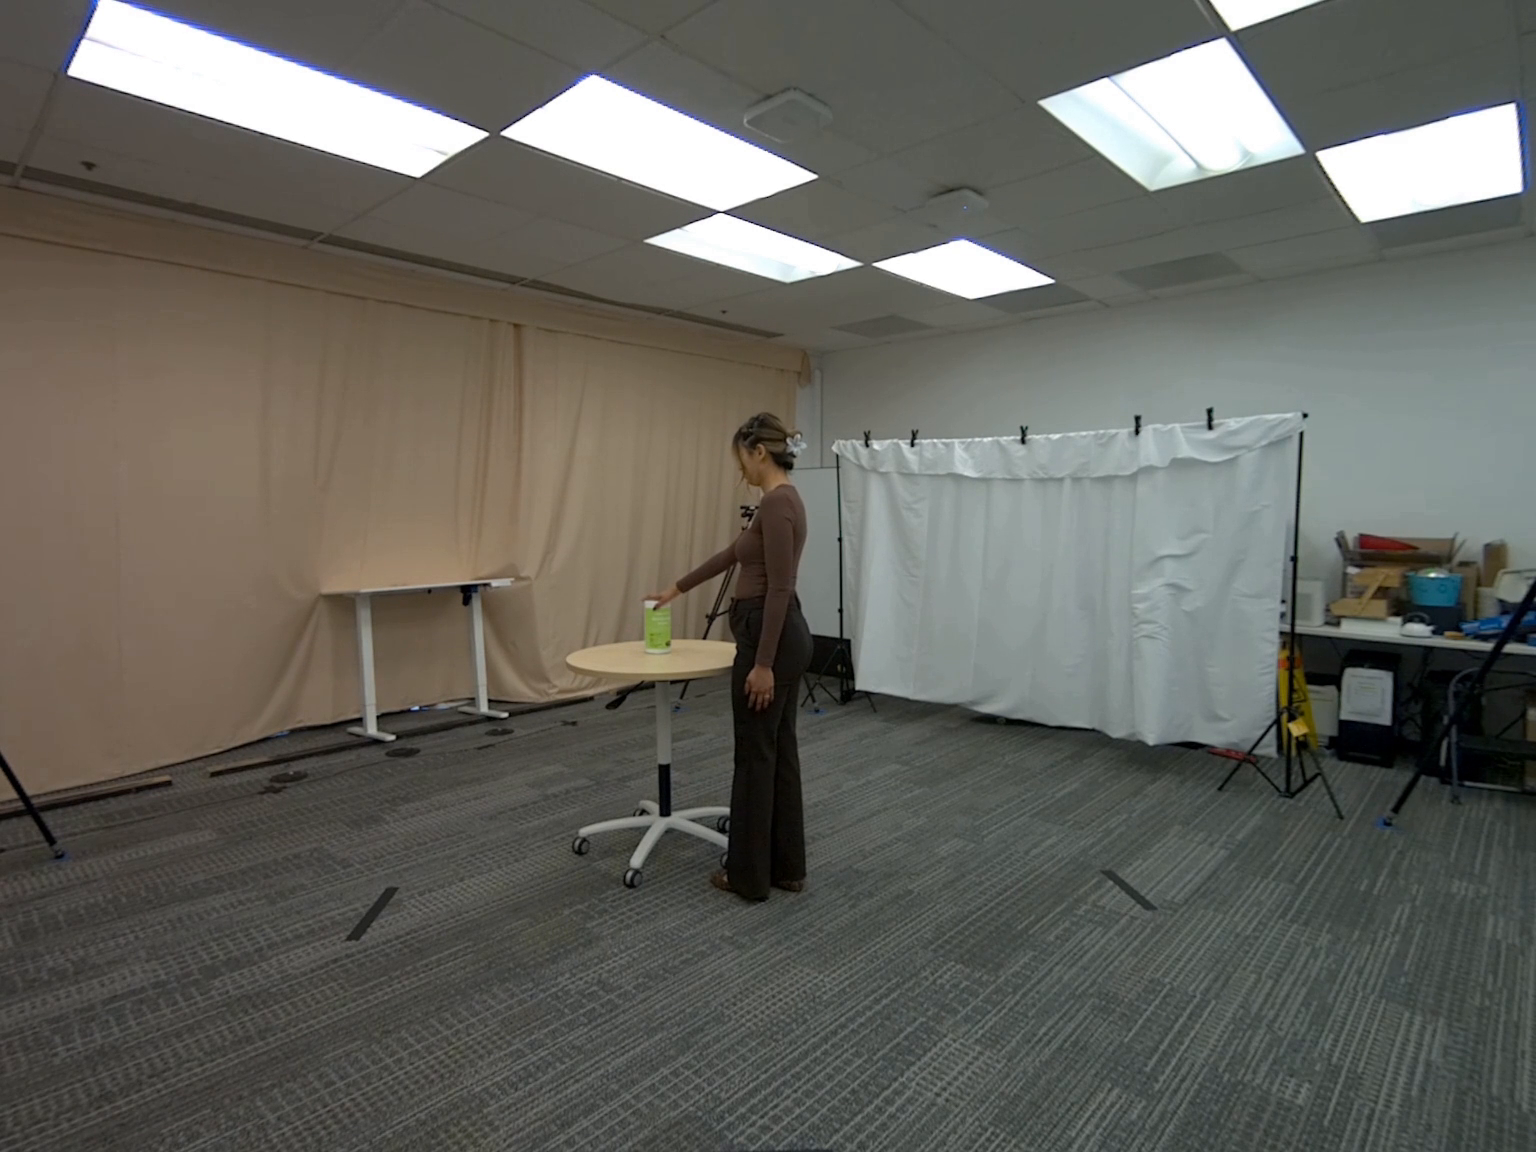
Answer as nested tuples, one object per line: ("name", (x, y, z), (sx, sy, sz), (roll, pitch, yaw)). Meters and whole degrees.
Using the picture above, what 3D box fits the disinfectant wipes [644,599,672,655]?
("disinfectant wipes", (-0.454, 0.206, 3.448), (0.117, 0.217, 0.118), (3, 4, -2))
